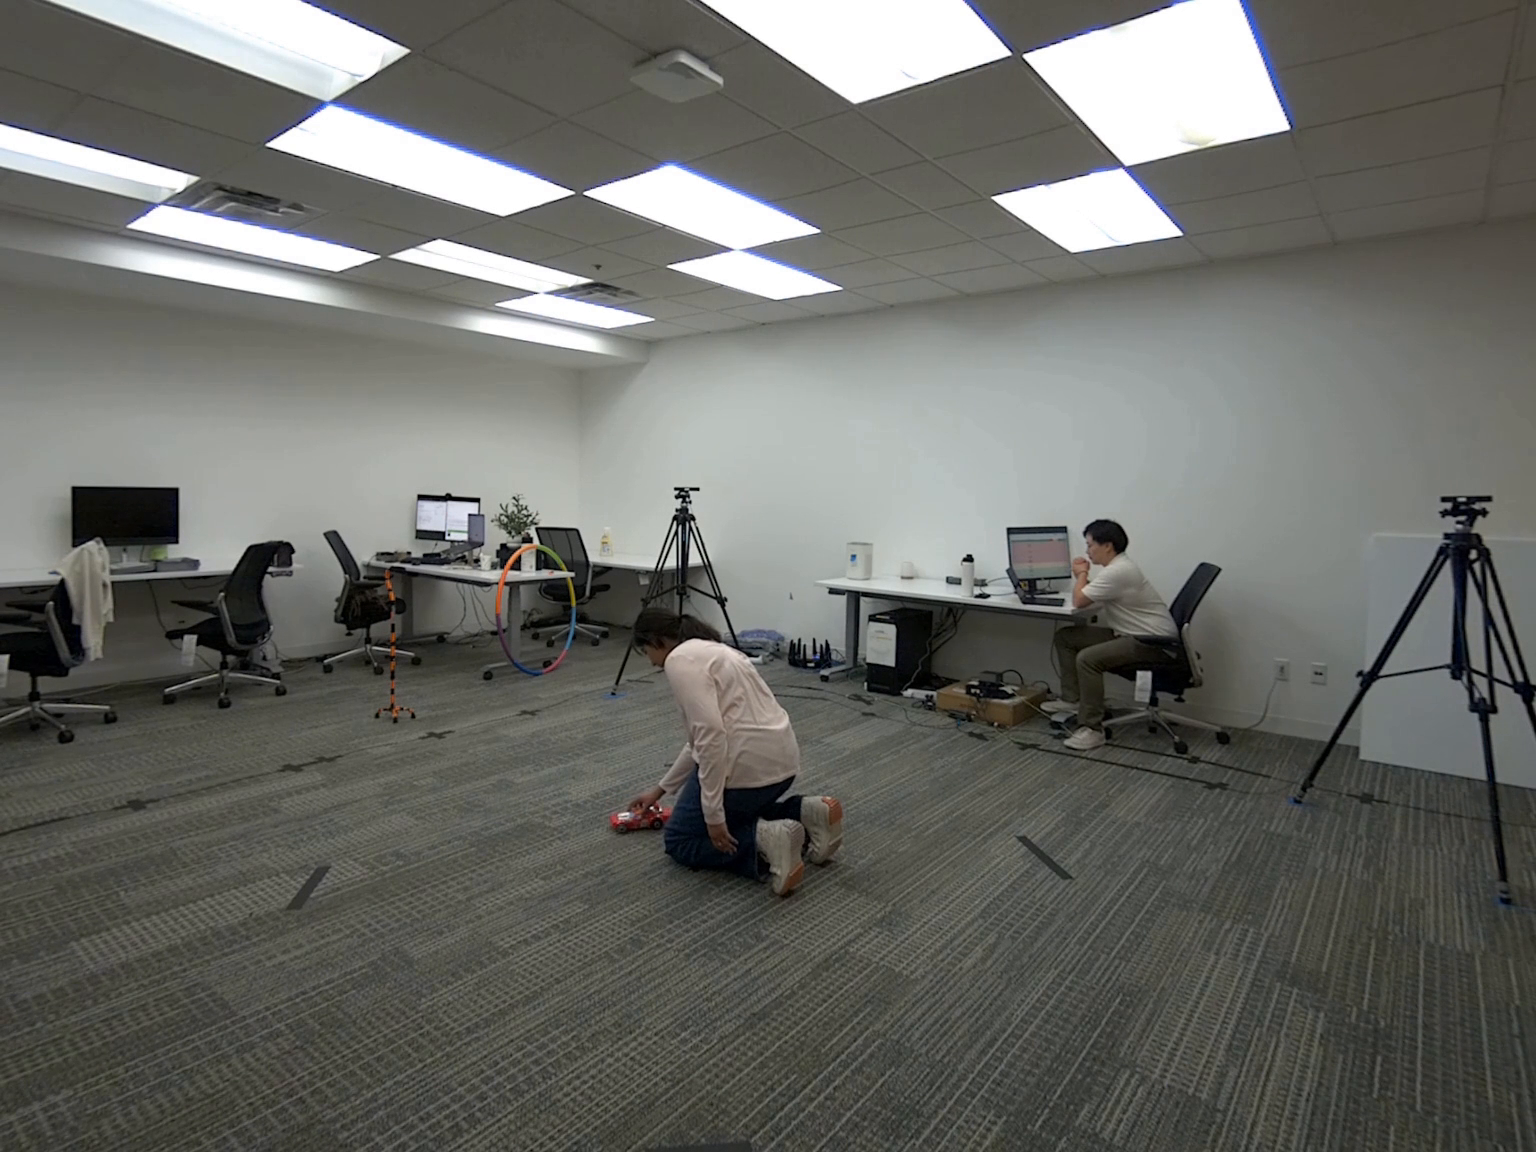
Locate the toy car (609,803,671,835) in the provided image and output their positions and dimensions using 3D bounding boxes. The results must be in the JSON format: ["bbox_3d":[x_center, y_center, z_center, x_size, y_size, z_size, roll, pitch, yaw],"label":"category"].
[{"bbox_3d":[-0.527,0.993,3.497,0.251,0.082,0.133,-10,8,-16],"label":"toy car"}]
